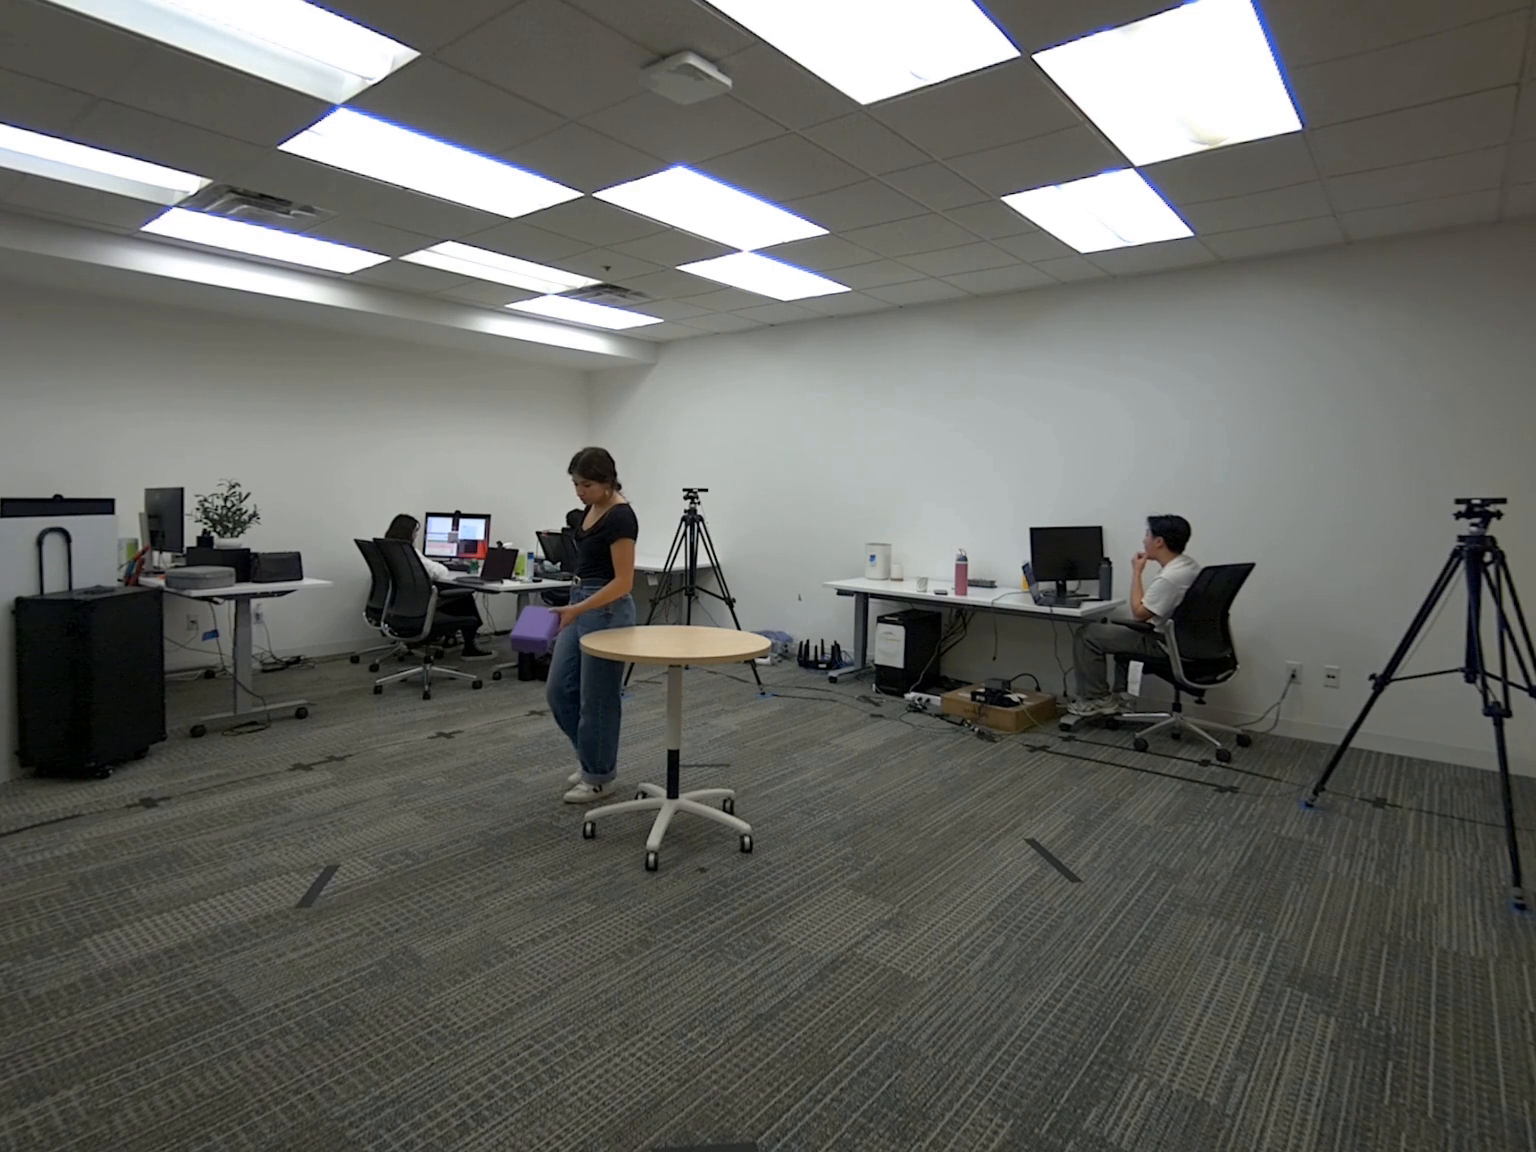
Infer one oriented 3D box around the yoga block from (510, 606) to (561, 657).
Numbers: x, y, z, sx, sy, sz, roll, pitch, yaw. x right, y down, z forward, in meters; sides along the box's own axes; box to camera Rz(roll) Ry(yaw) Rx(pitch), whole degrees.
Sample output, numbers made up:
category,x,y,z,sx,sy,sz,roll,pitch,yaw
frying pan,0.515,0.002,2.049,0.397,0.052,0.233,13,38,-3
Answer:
category,x,y,z,sx,sy,sz,roll,pitch,yaw
yoga block,-0.931,0.203,3.447,0.150,0.075,0.233,5,28,4
